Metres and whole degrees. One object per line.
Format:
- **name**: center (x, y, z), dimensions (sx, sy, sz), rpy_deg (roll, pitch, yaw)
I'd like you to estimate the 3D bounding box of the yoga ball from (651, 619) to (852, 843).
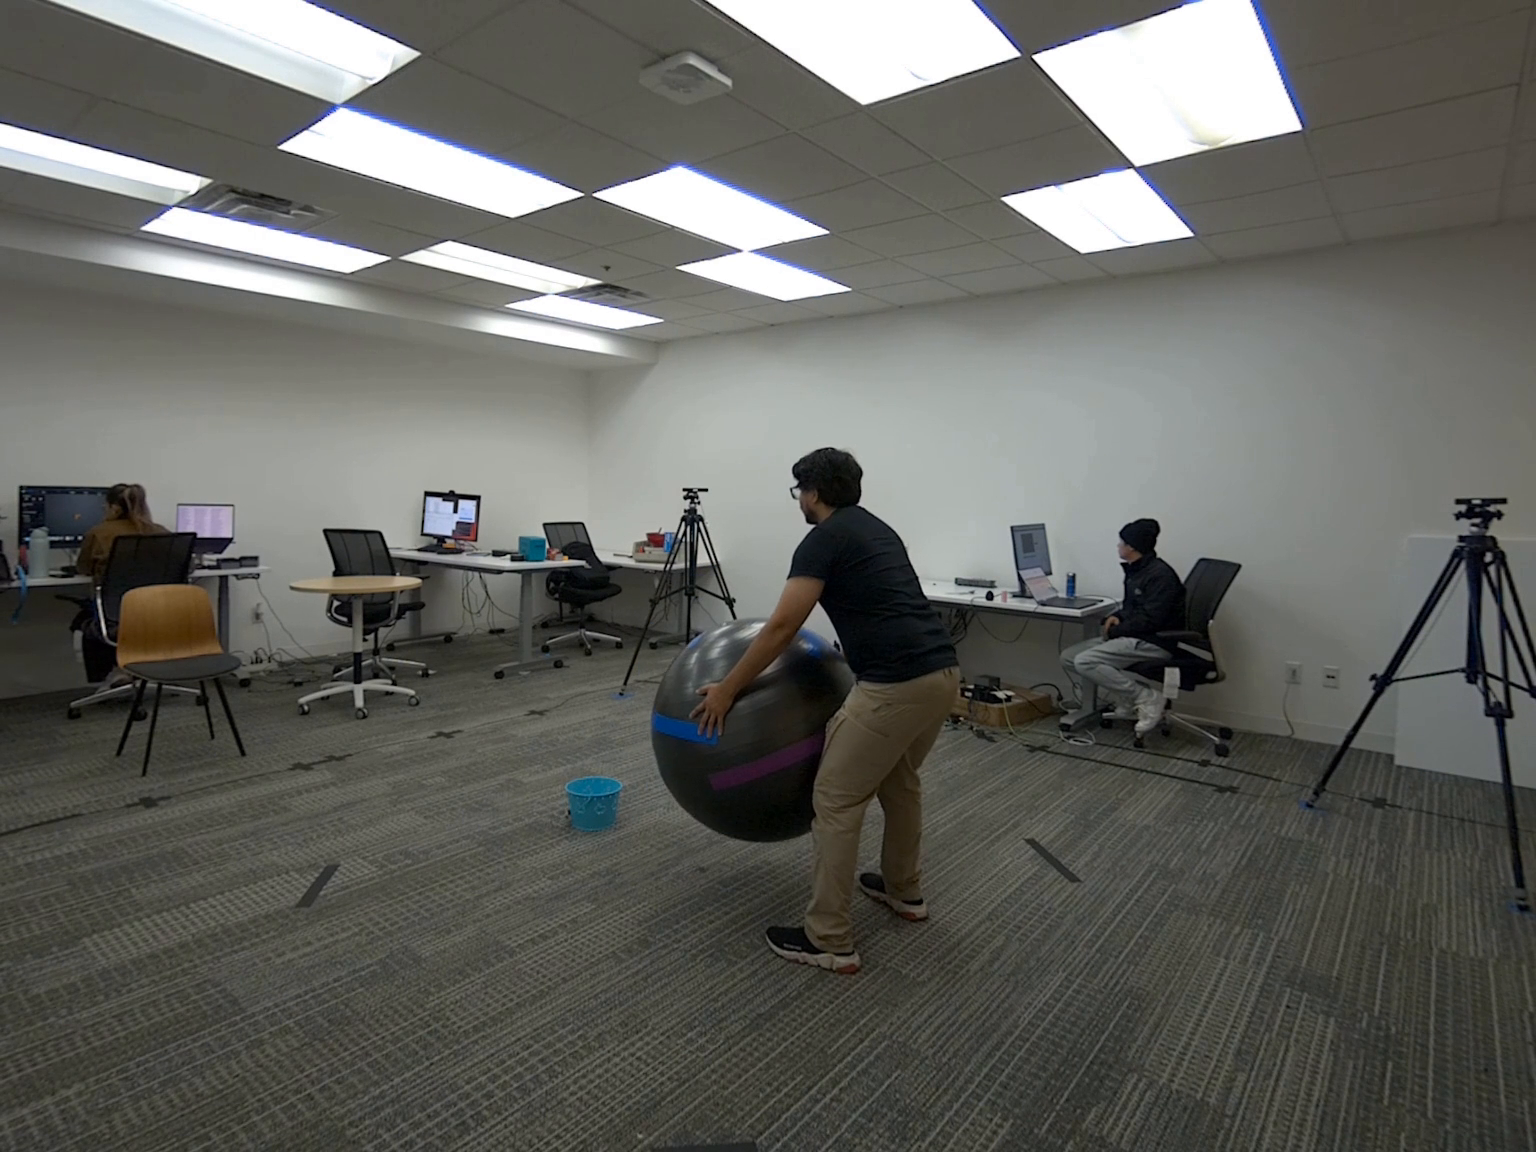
- **yoga ball**: center (-0.037, 0.527, 2.954), dimensions (0.757, 0.756, 0.761), rpy_deg (1, 4, -2)
